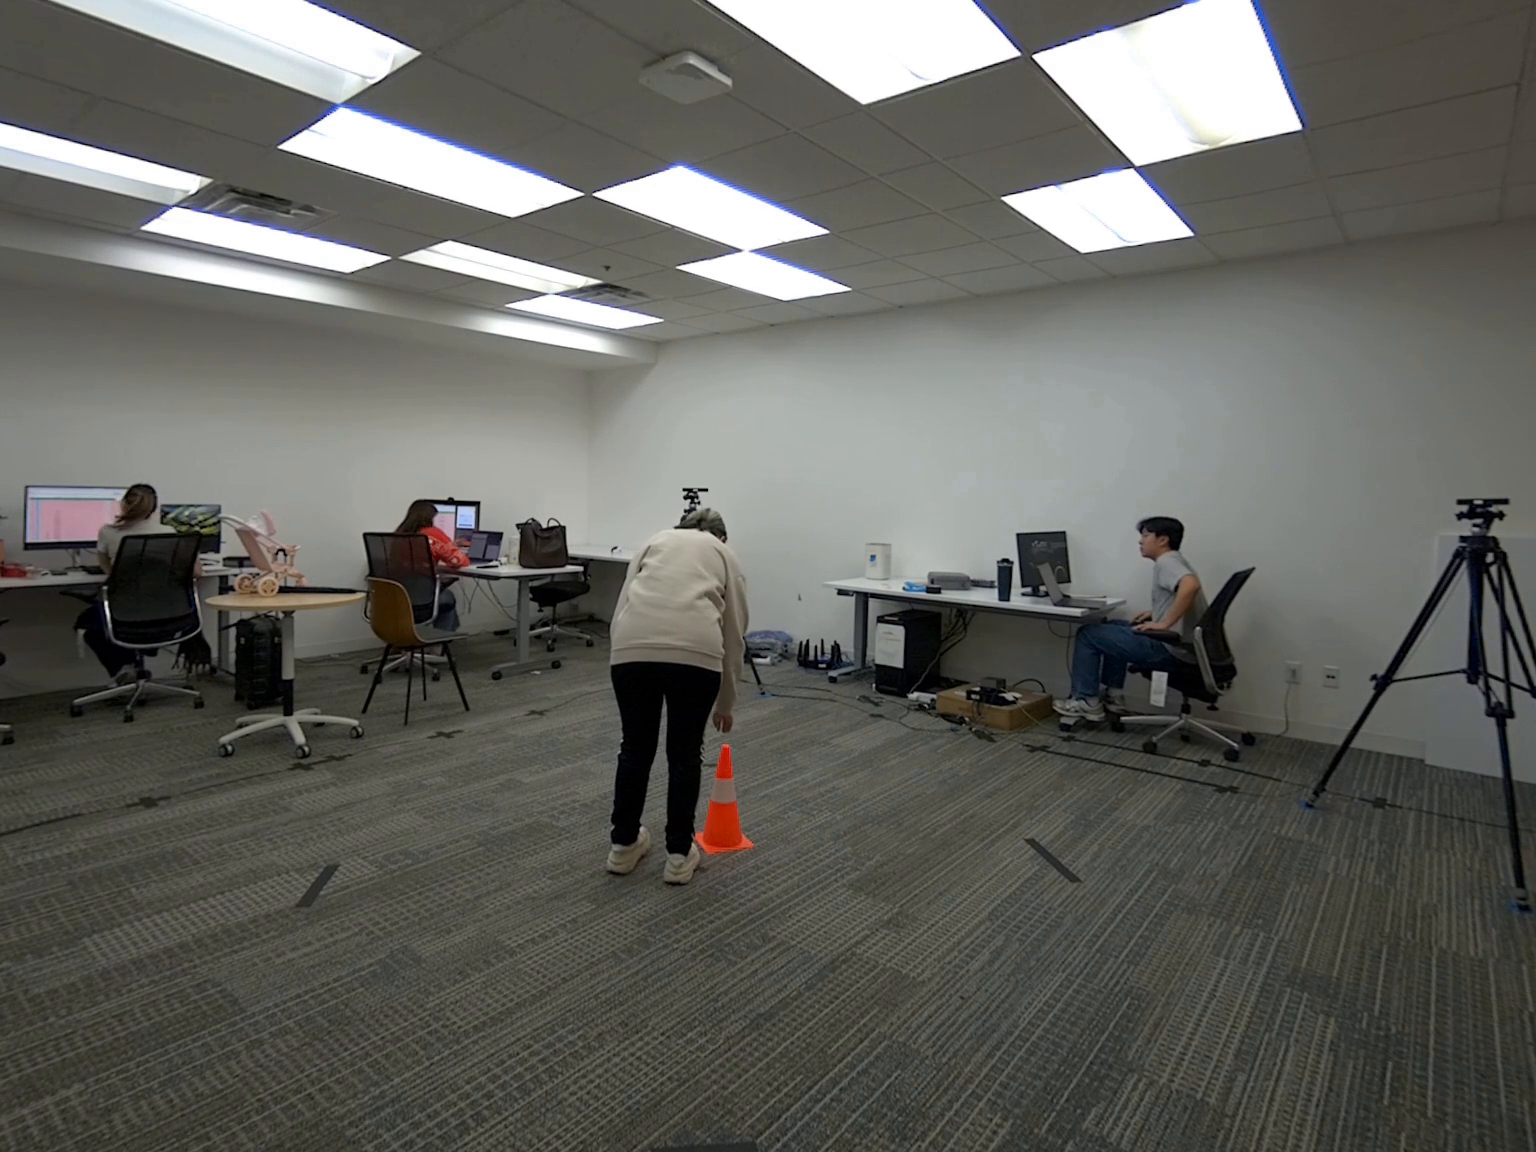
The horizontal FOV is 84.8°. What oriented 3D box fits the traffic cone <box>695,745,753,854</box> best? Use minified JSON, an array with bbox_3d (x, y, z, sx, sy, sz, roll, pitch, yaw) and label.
[{"bbox_3d":[-0.184,0.859,3.370,0.199,0.383,0.209,2,3,-19],"label":"traffic cone"}]
